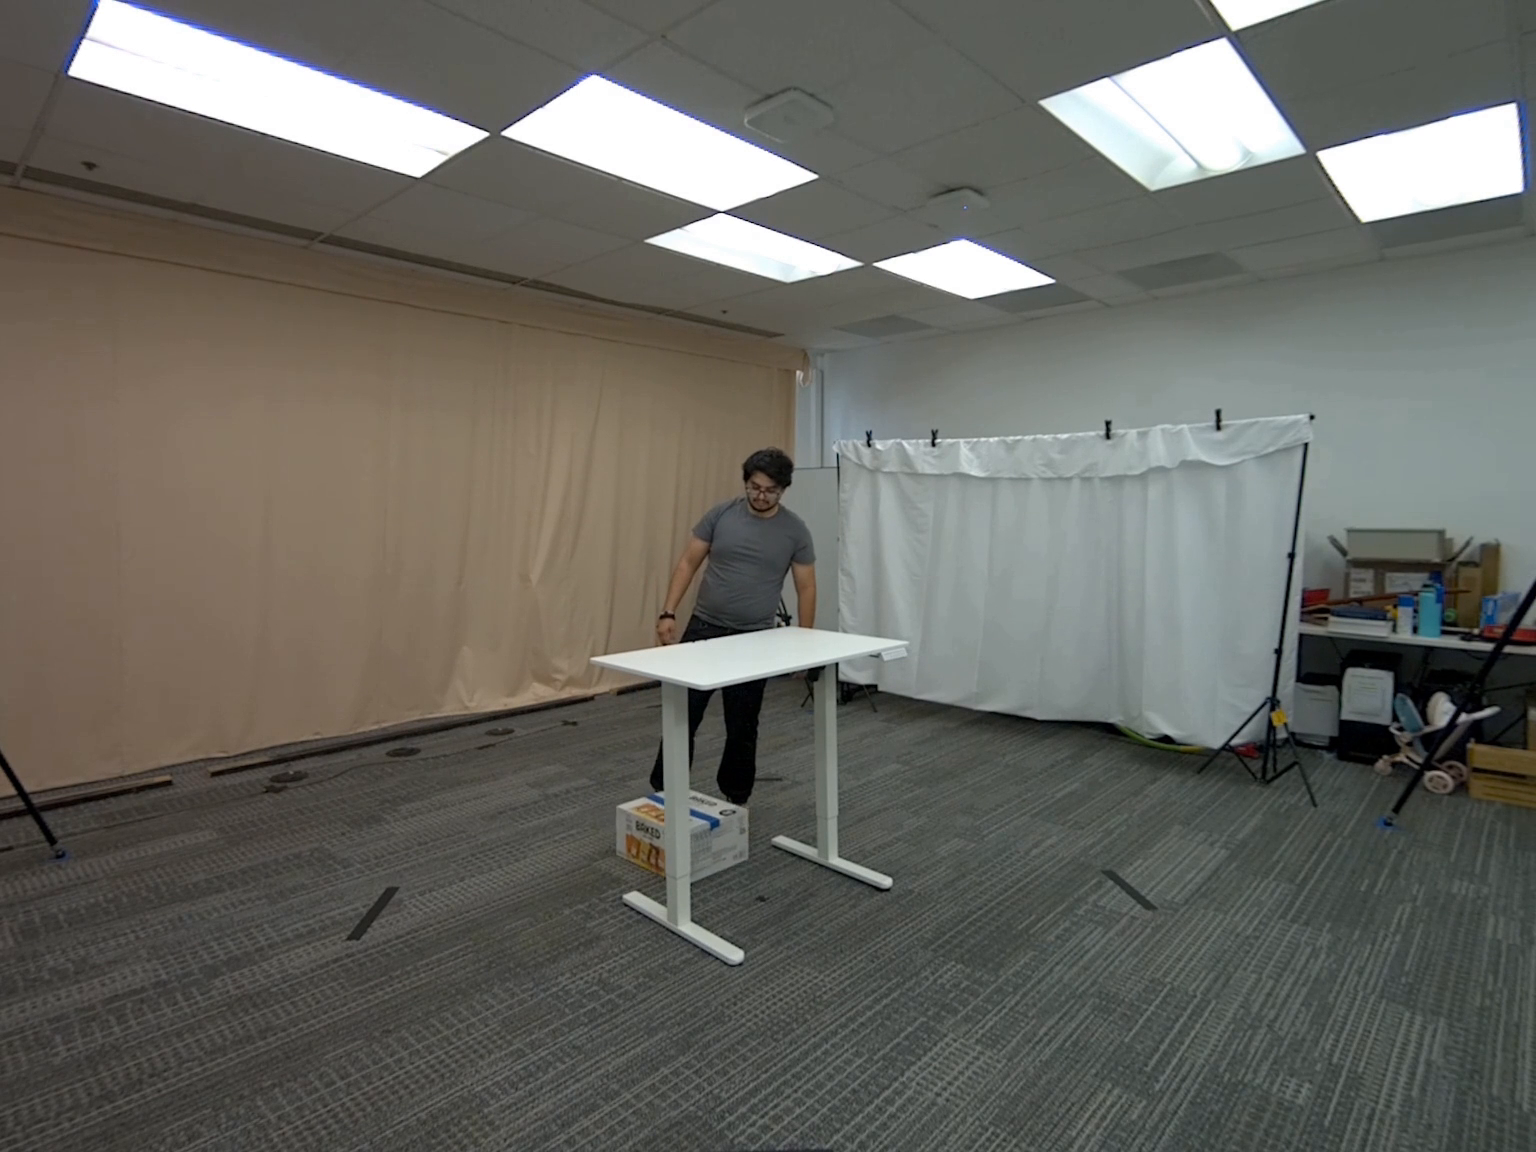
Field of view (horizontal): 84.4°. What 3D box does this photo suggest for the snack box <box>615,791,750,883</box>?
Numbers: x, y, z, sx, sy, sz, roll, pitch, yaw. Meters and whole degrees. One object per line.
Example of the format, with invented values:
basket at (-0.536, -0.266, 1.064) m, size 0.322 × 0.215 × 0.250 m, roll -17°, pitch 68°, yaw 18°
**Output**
snack box at (-0.336, 1.017, 3.322) m, size 0.419 × 0.205 × 0.330 m, roll 3°, pitch 6°, yaw 45°
